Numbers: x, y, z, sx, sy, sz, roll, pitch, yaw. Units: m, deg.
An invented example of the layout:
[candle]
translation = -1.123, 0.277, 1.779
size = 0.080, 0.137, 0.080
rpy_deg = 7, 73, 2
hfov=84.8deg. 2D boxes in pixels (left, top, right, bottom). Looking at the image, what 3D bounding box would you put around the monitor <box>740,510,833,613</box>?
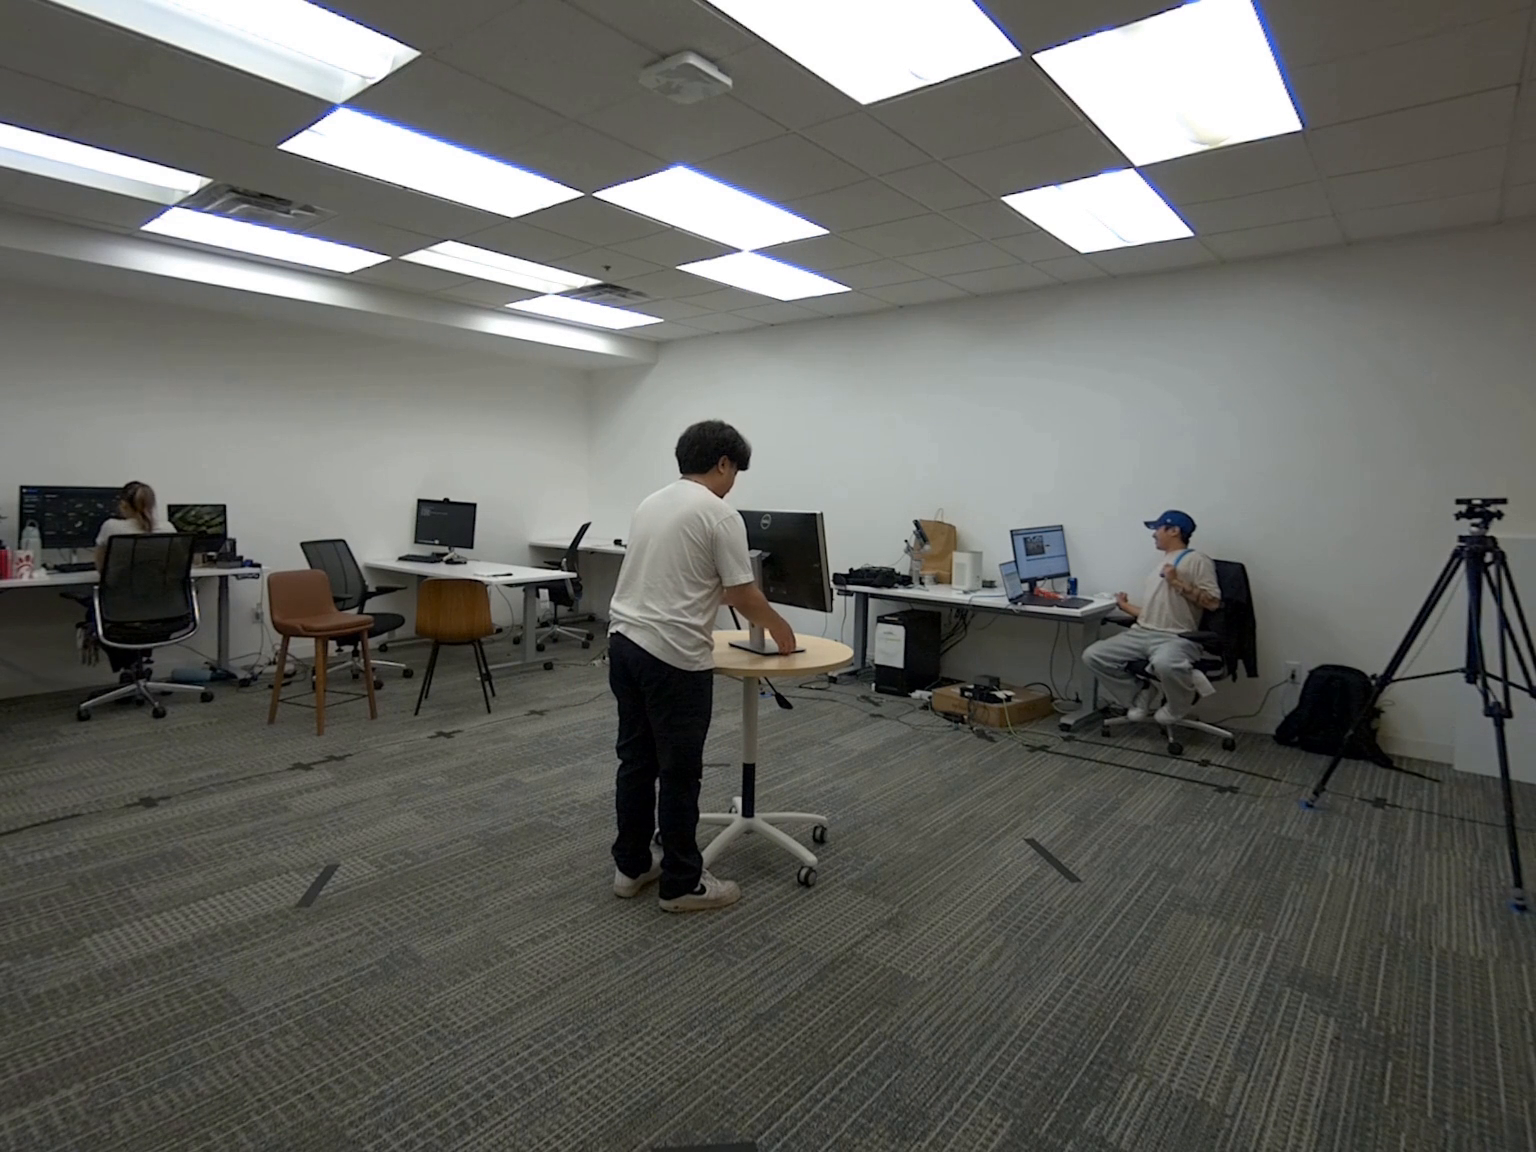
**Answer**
[monitor]
translation = -0.029, 0.021, 3.193
size = 0.204, 0.551, 0.584
rpy_deg = -6, 7, -37
